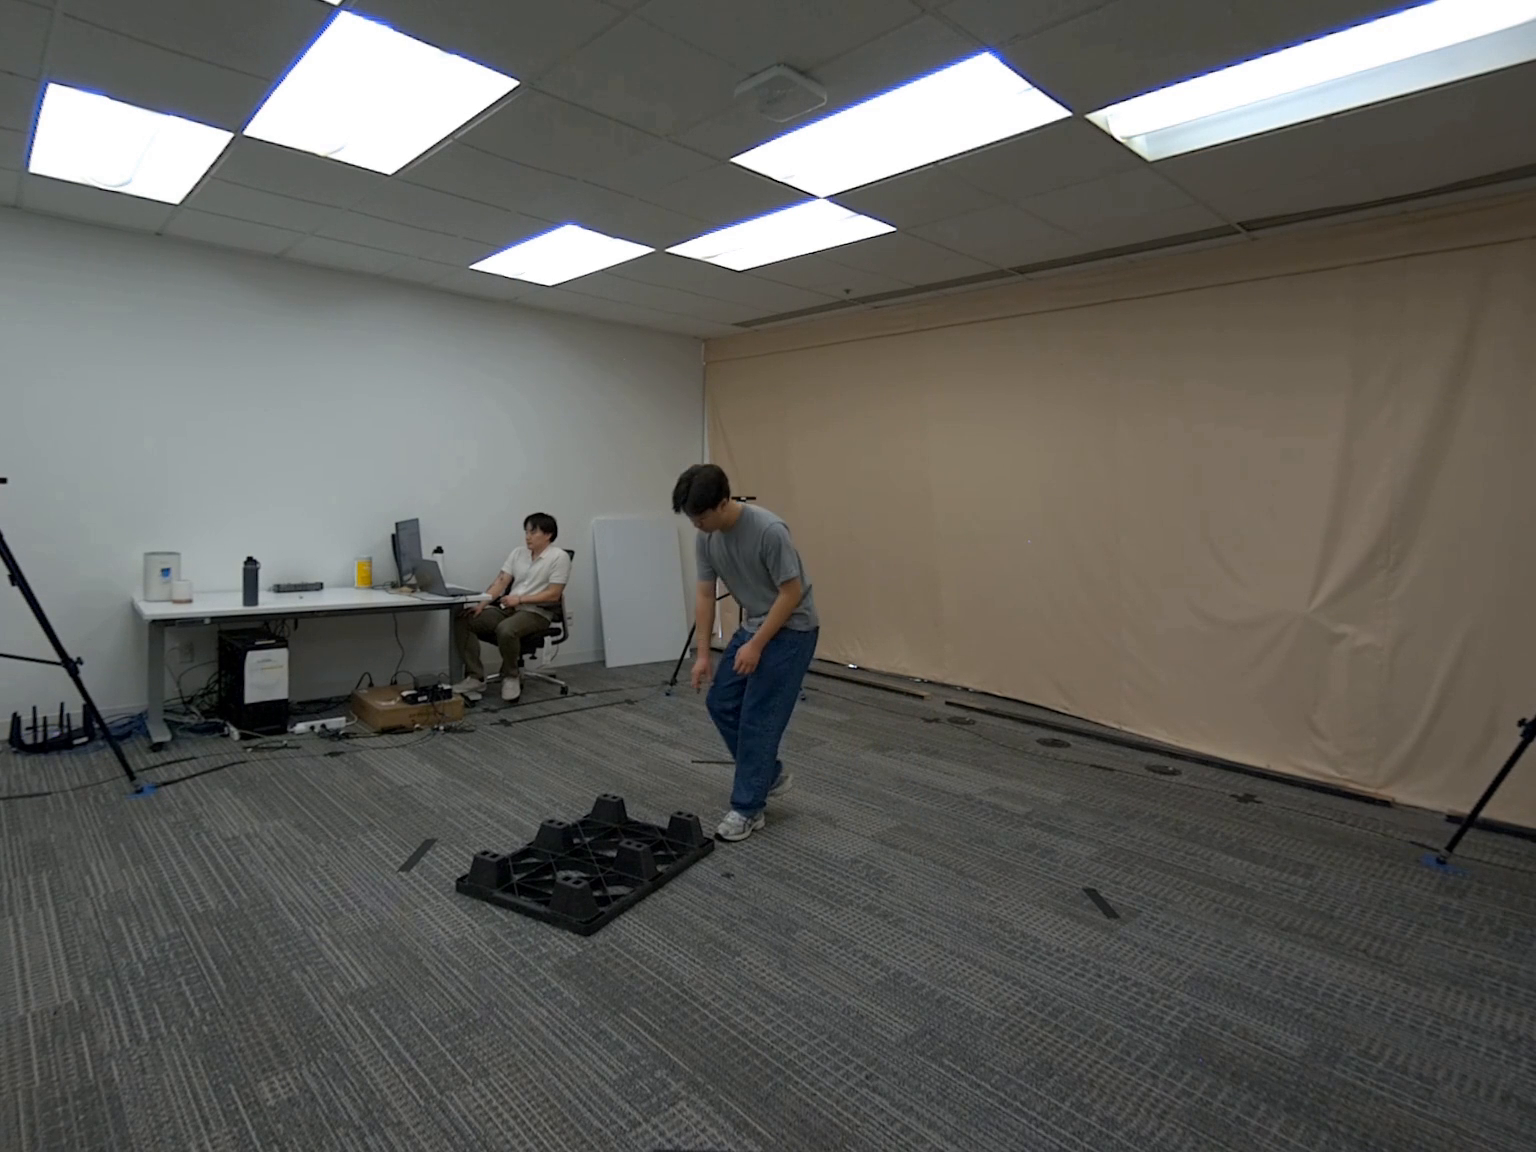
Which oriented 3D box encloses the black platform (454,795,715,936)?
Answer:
[{"bbox_3d":[-0.658,1.026,3.133,0.618,0.143,0.791,5,6,27],"label":"black platform"}]
